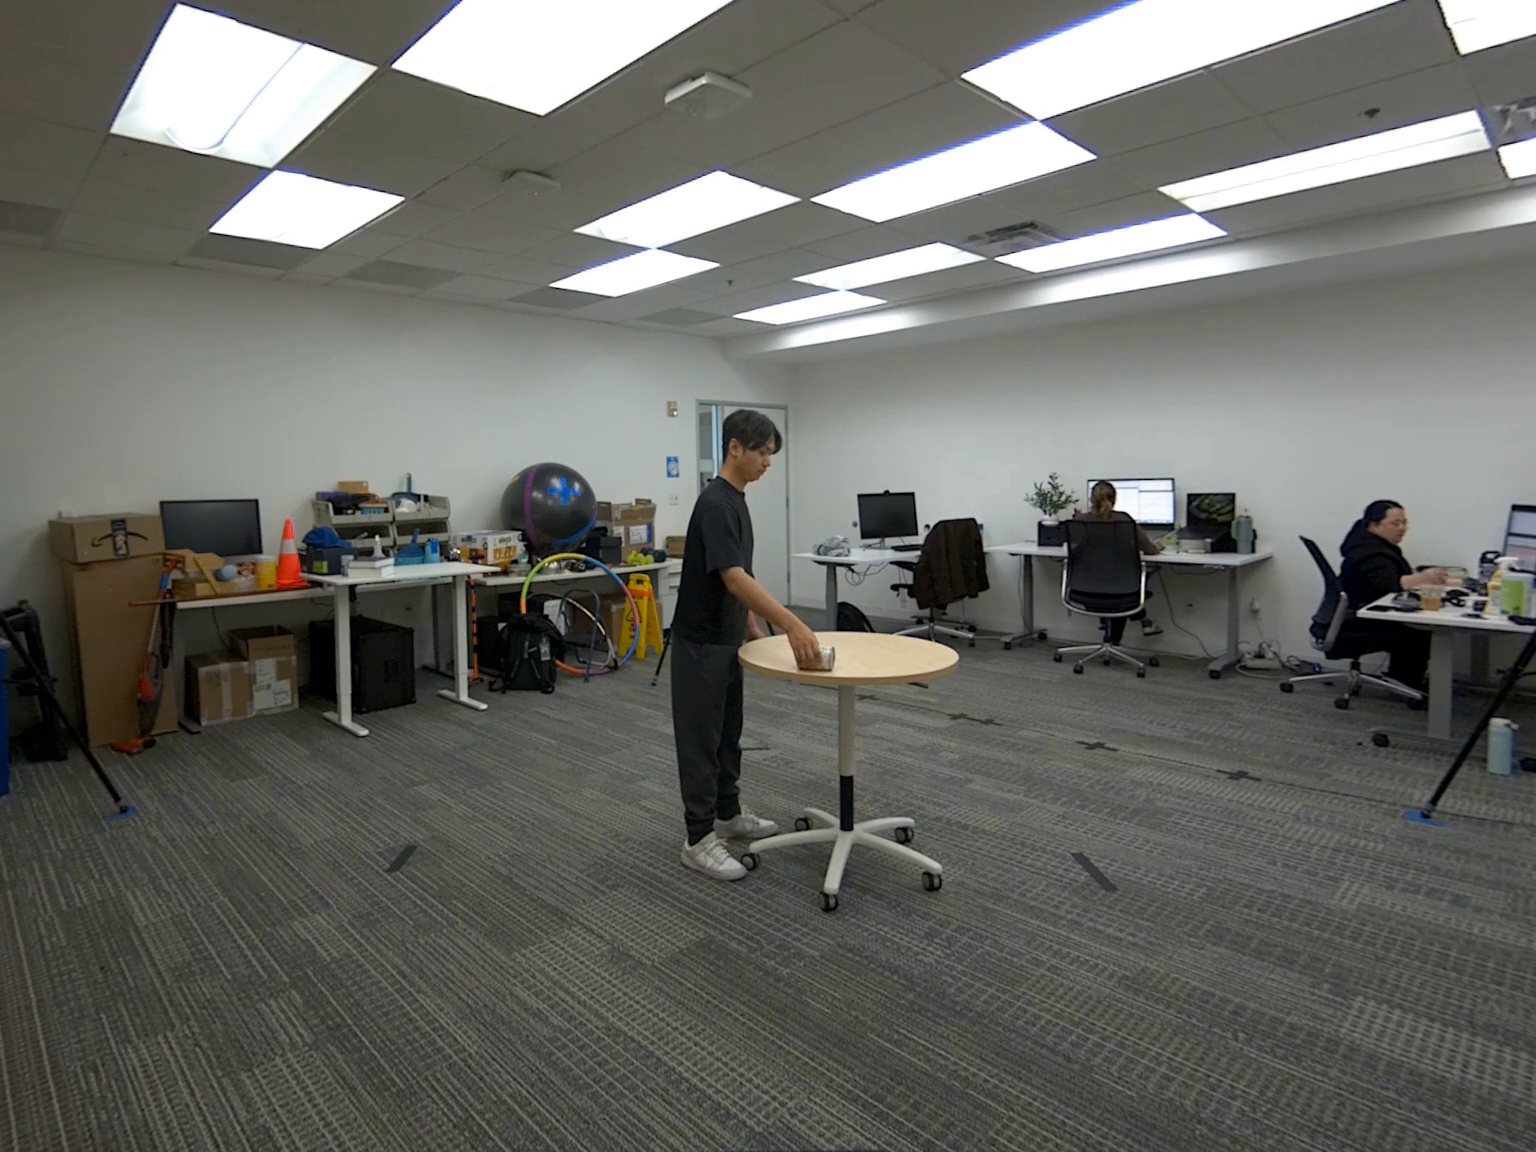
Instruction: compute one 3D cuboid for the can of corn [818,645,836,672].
[{"bbox_3d":[0.159,0.259,2.752,0.112,0.074,0.073,0,5,13],"label":"can of corn"}]
